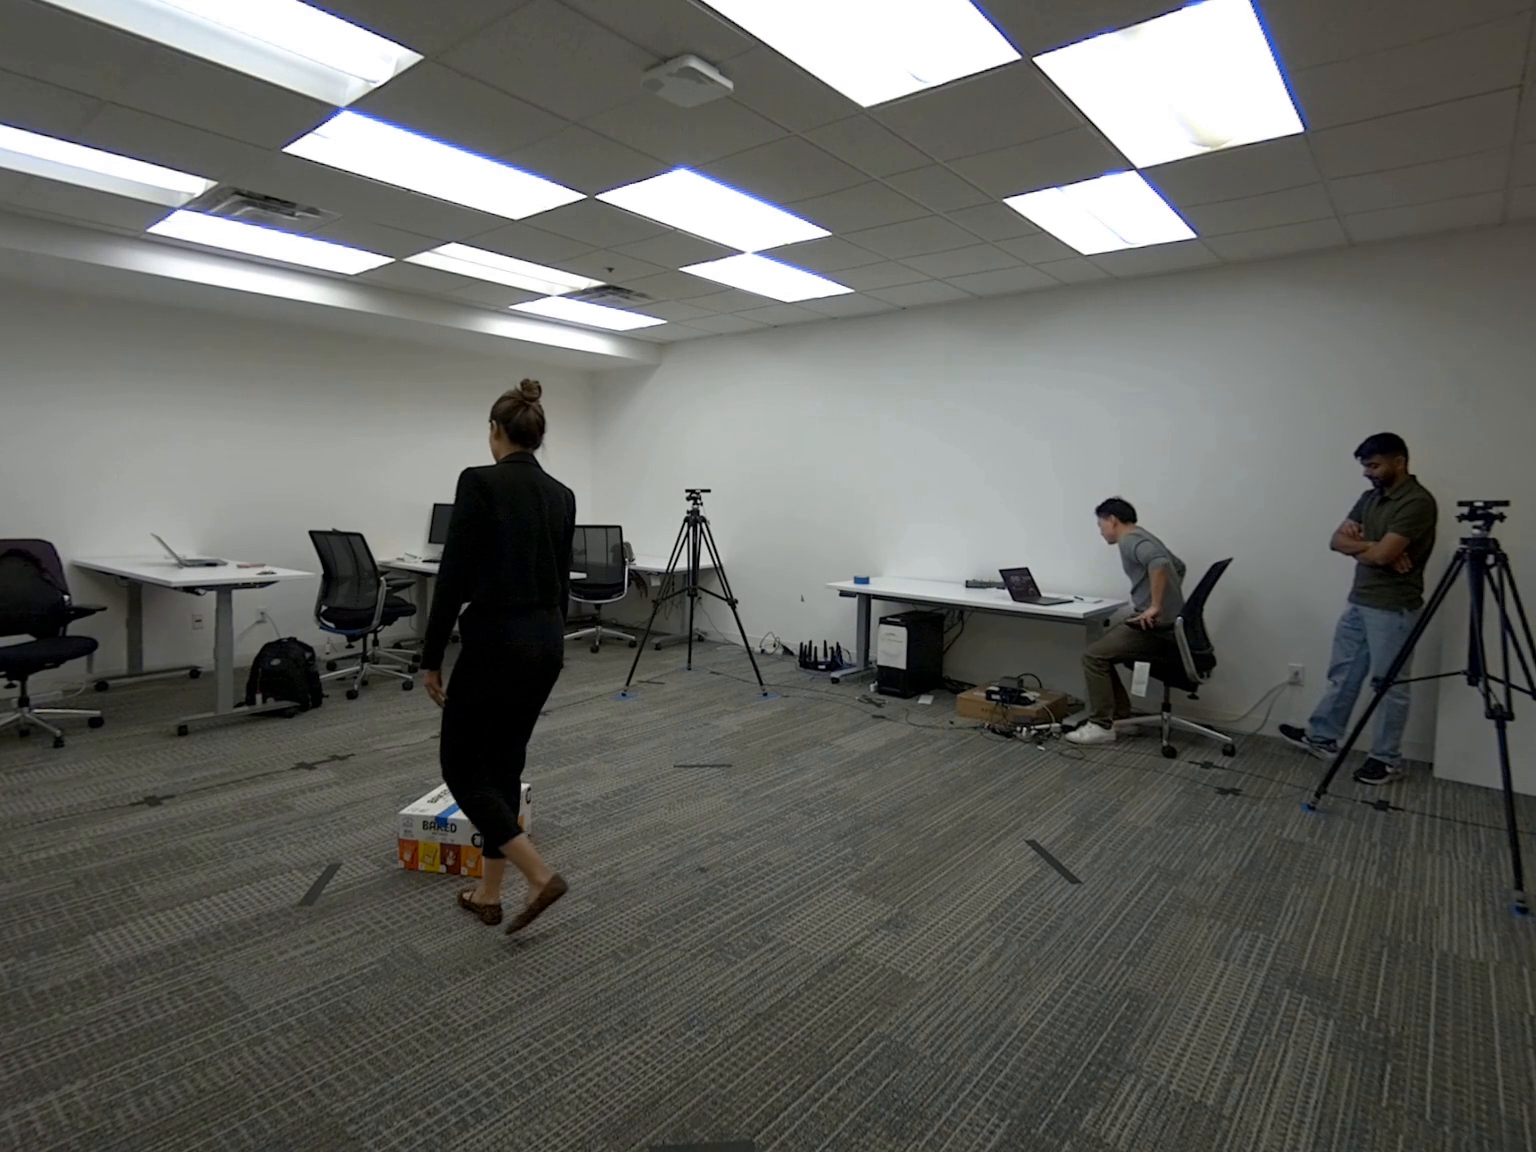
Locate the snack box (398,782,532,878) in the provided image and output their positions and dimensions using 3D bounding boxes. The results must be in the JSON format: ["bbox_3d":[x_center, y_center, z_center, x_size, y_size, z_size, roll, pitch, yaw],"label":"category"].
[{"bbox_3d":[-1.160,0.945,3.239,0.345,0.205,0.402,2,5,10],"label":"snack box"}]
